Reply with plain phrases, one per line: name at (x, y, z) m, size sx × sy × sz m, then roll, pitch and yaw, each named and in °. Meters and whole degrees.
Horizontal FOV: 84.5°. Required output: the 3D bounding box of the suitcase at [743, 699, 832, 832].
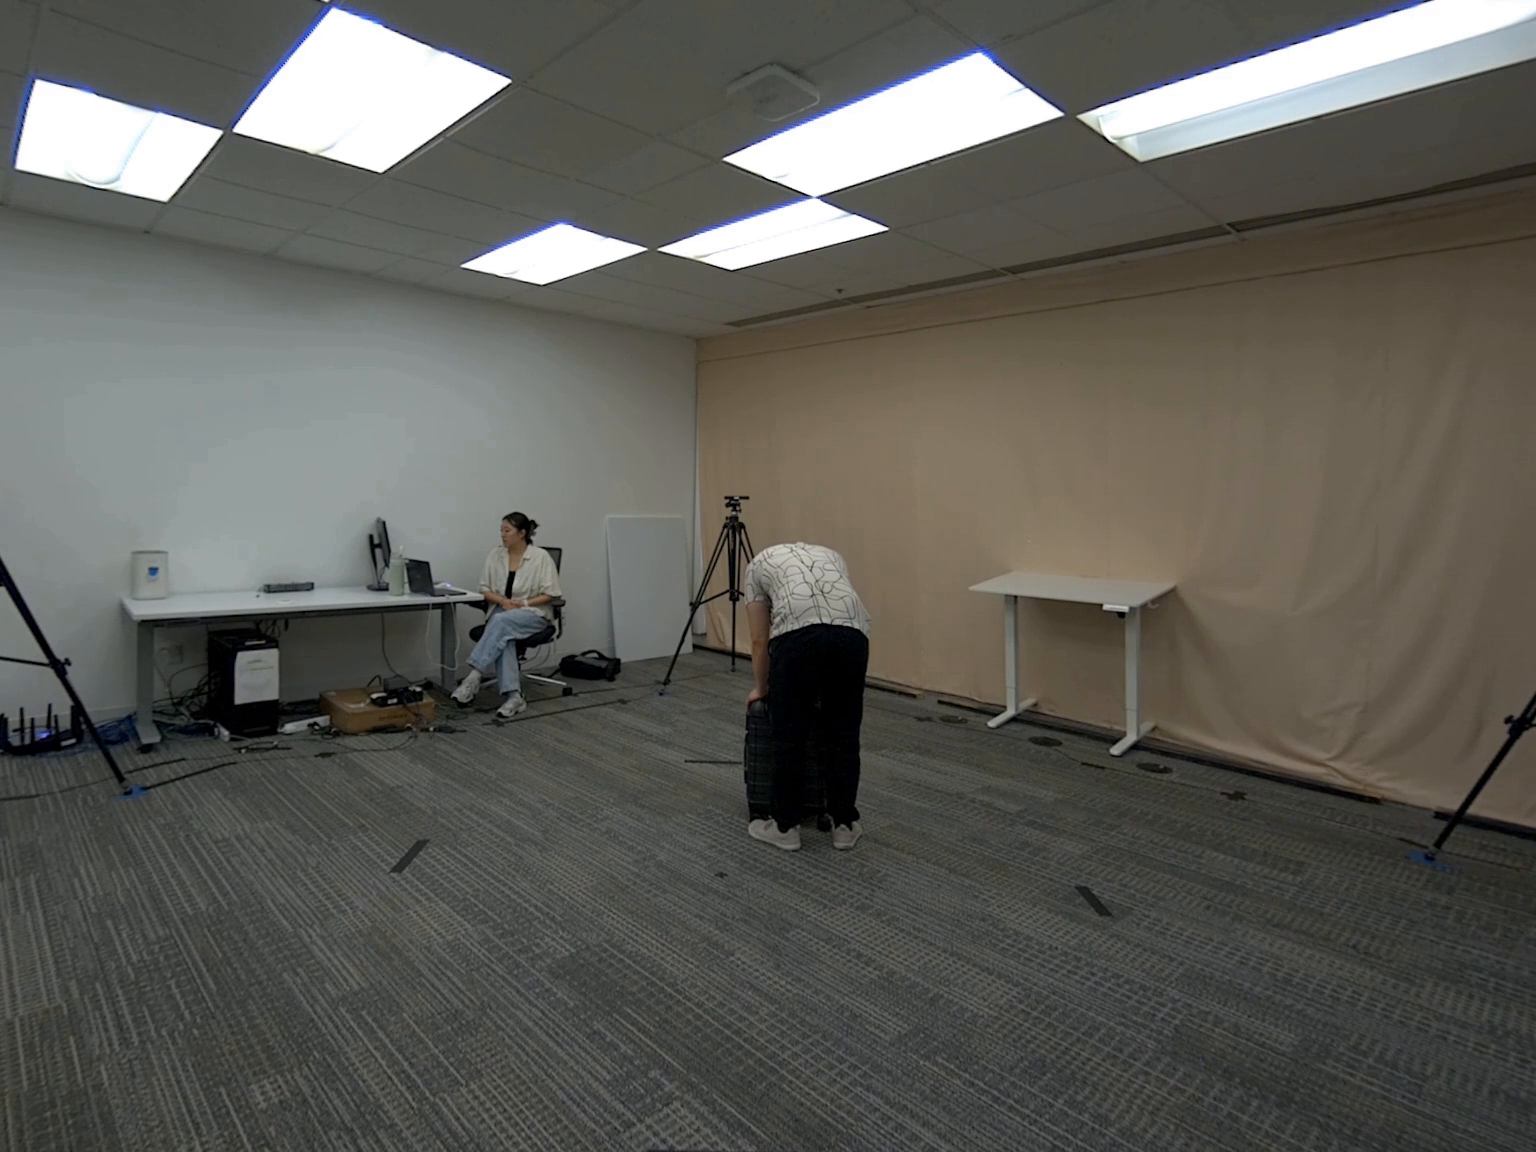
suitcase at (0.082, 0.786, 3.688) m, size 0.377 × 0.549 × 0.248 m, roll 1°, pitch 1°, yaw 4°
